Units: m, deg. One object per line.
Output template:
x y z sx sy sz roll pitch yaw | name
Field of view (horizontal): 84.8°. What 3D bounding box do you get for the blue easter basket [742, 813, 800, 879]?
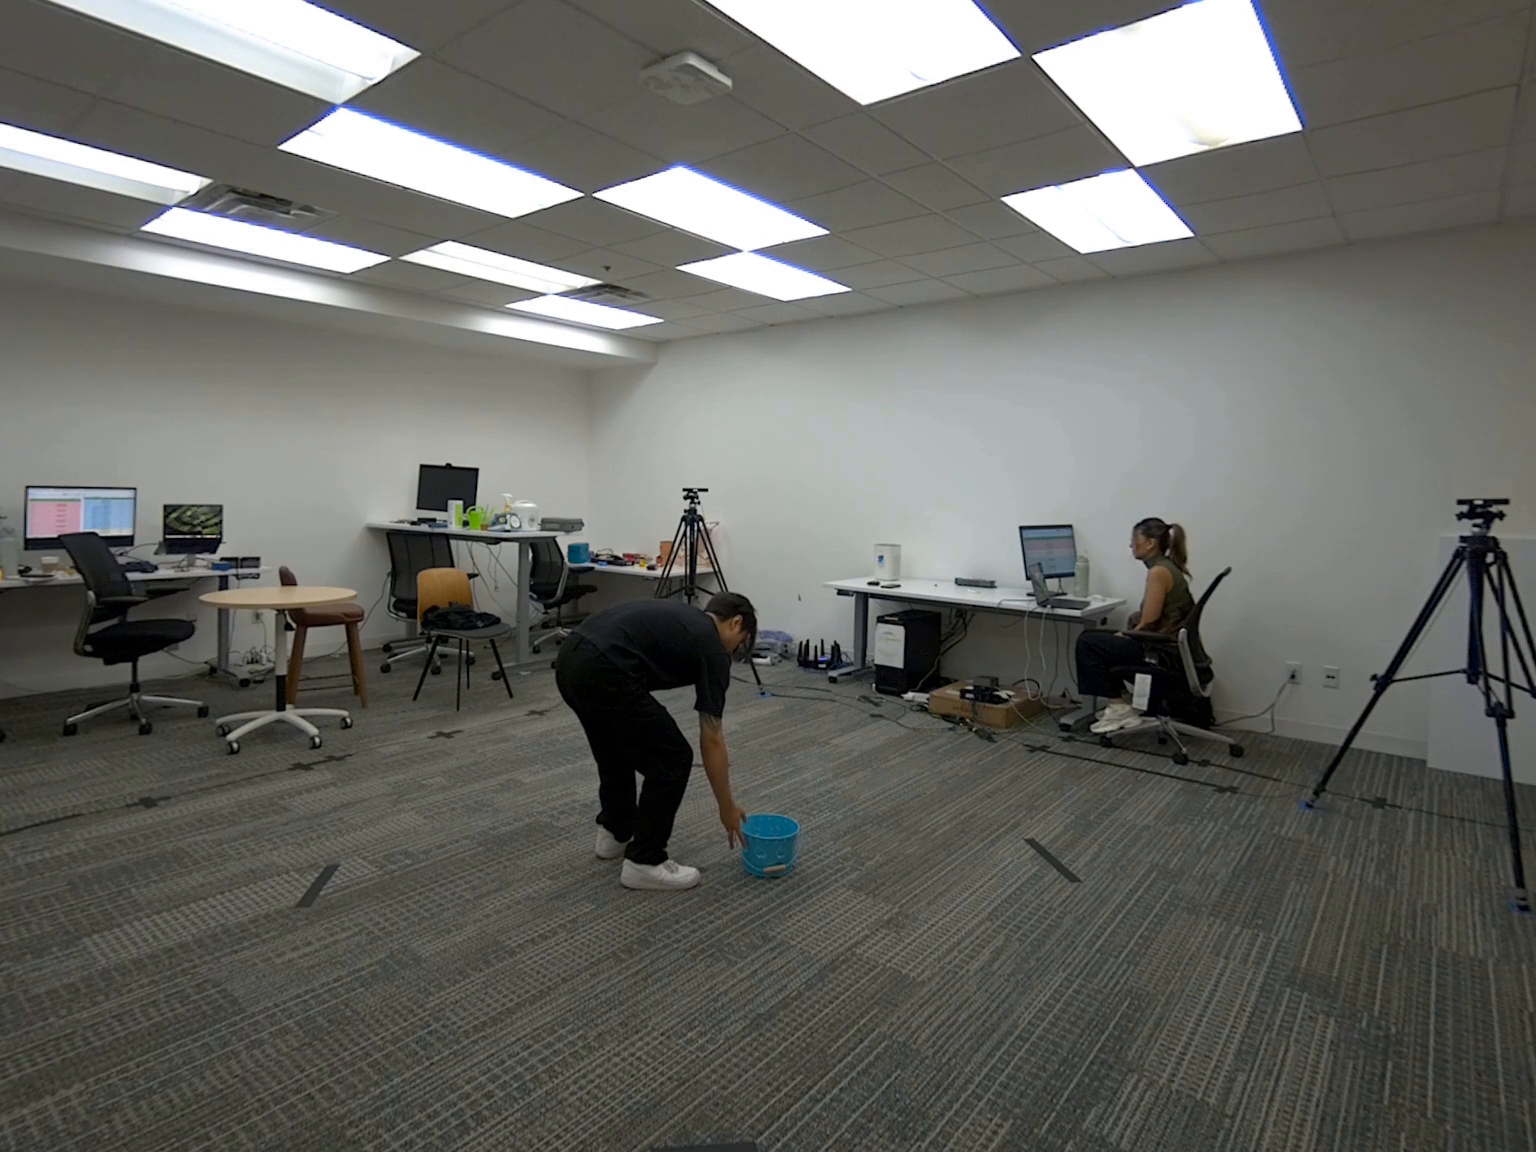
-0.012 0.992 3.144 0.243 0.155 0.245 1 5 -2 | blue easter basket
